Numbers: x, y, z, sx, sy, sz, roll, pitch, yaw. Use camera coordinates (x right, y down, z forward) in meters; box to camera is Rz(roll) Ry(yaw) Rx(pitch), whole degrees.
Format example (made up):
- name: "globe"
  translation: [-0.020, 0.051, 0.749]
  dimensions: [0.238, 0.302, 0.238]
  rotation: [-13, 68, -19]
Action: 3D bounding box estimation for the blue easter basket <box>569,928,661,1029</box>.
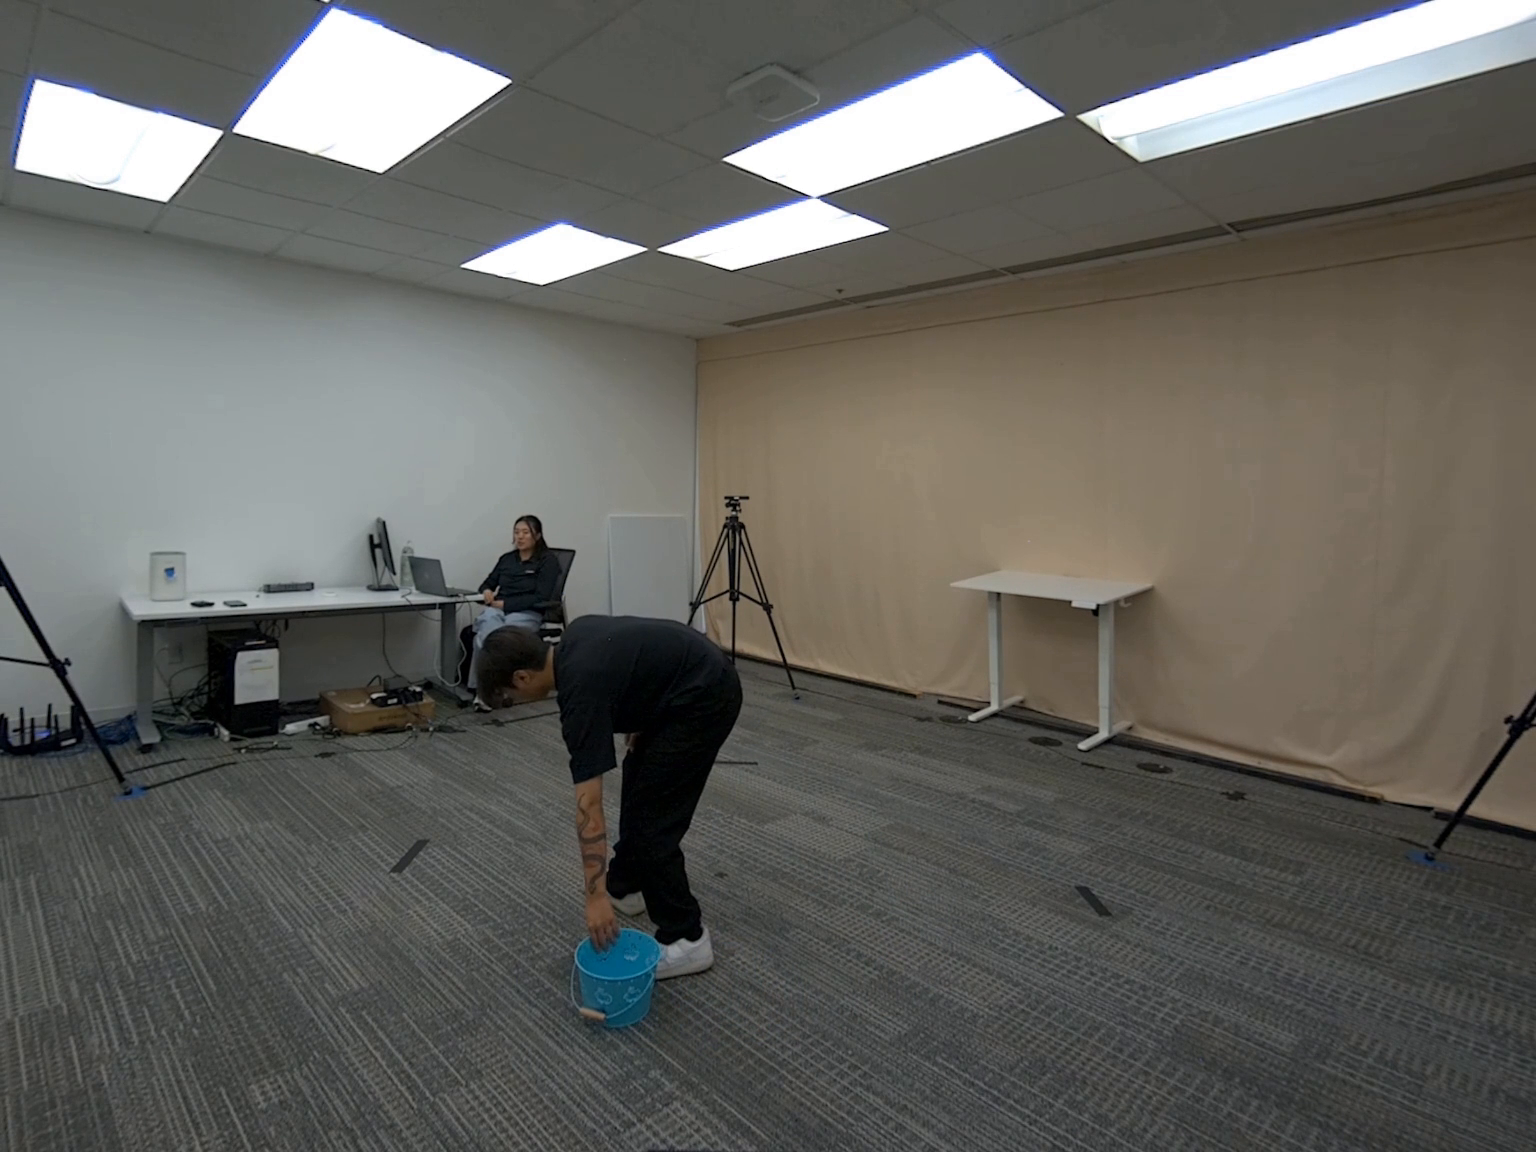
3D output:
- name: "blue easter basket"
  translation: [-0.422, 1.098, 2.280]
  dimensions: [0.243, 0.155, 0.245]
  rotation: [2, 7, -2]
